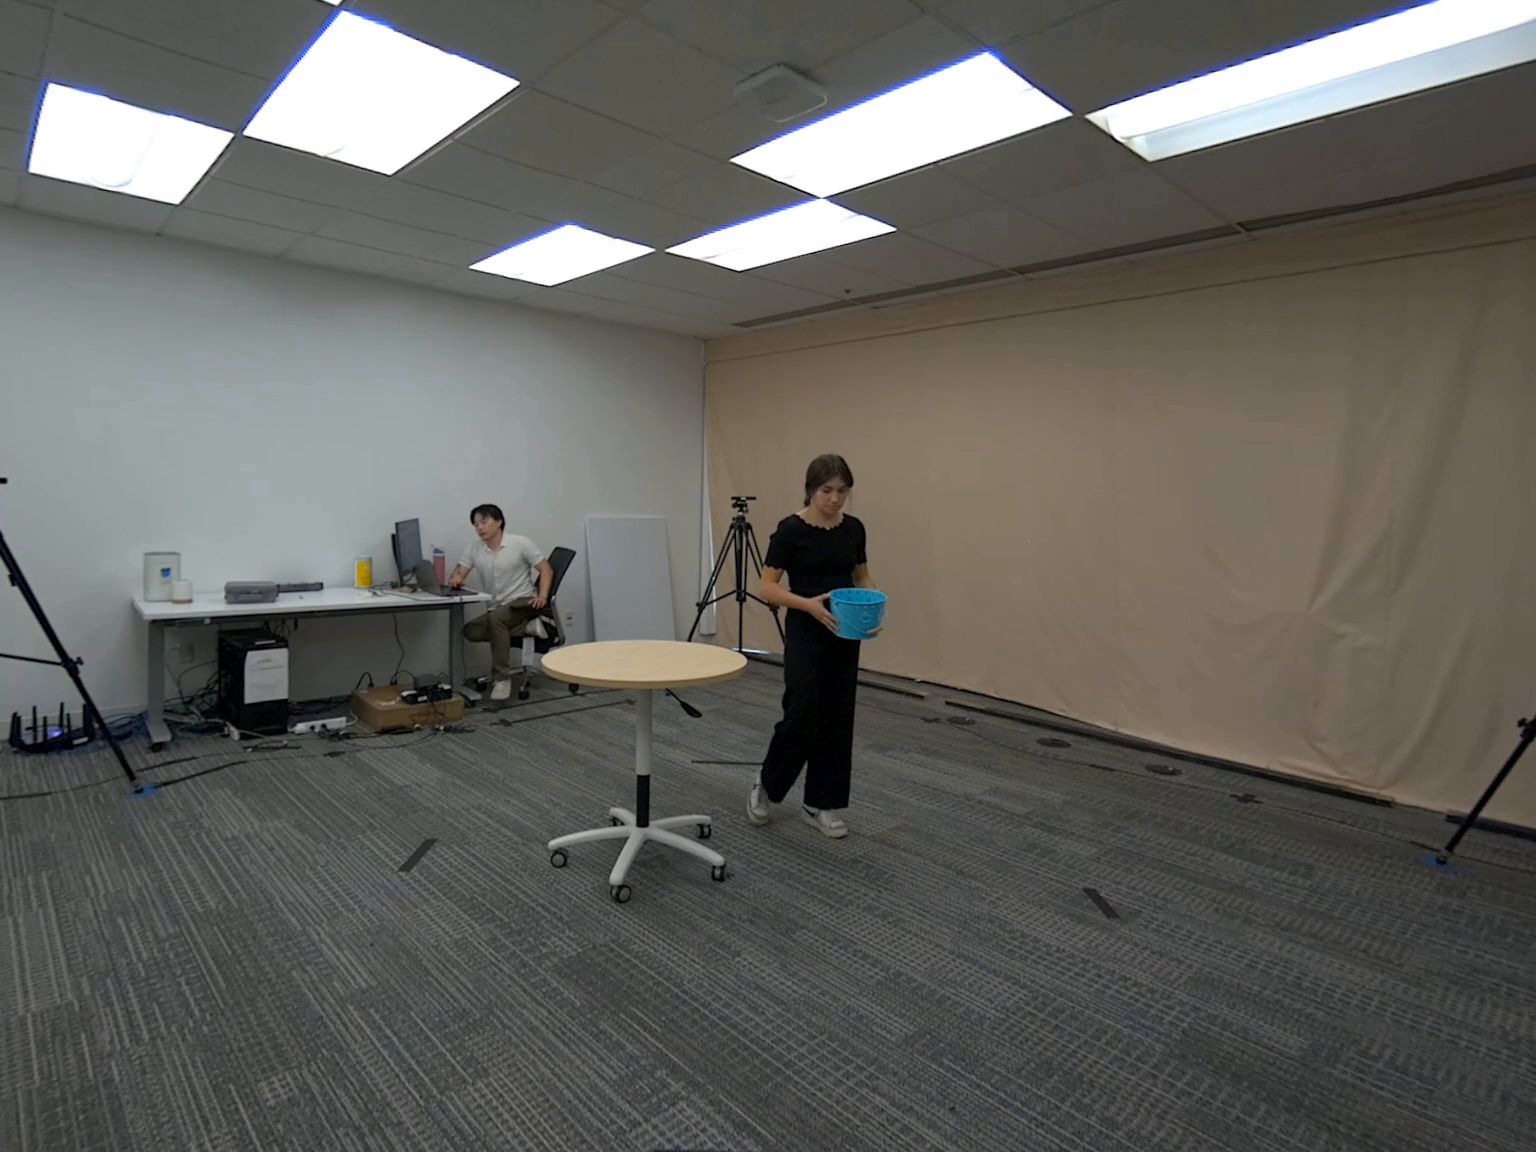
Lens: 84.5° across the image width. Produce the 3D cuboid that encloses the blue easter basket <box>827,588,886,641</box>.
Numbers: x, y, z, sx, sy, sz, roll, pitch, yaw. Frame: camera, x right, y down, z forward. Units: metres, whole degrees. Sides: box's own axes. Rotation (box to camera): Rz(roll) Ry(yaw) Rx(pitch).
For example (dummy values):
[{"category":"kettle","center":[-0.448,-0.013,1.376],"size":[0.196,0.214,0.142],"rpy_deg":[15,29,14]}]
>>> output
[{"category":"blue easter basket","center":[0.336,0.155,3.316],"size":[0.243,0.154,0.246],"rpy_deg":[0,12,-1]}]
